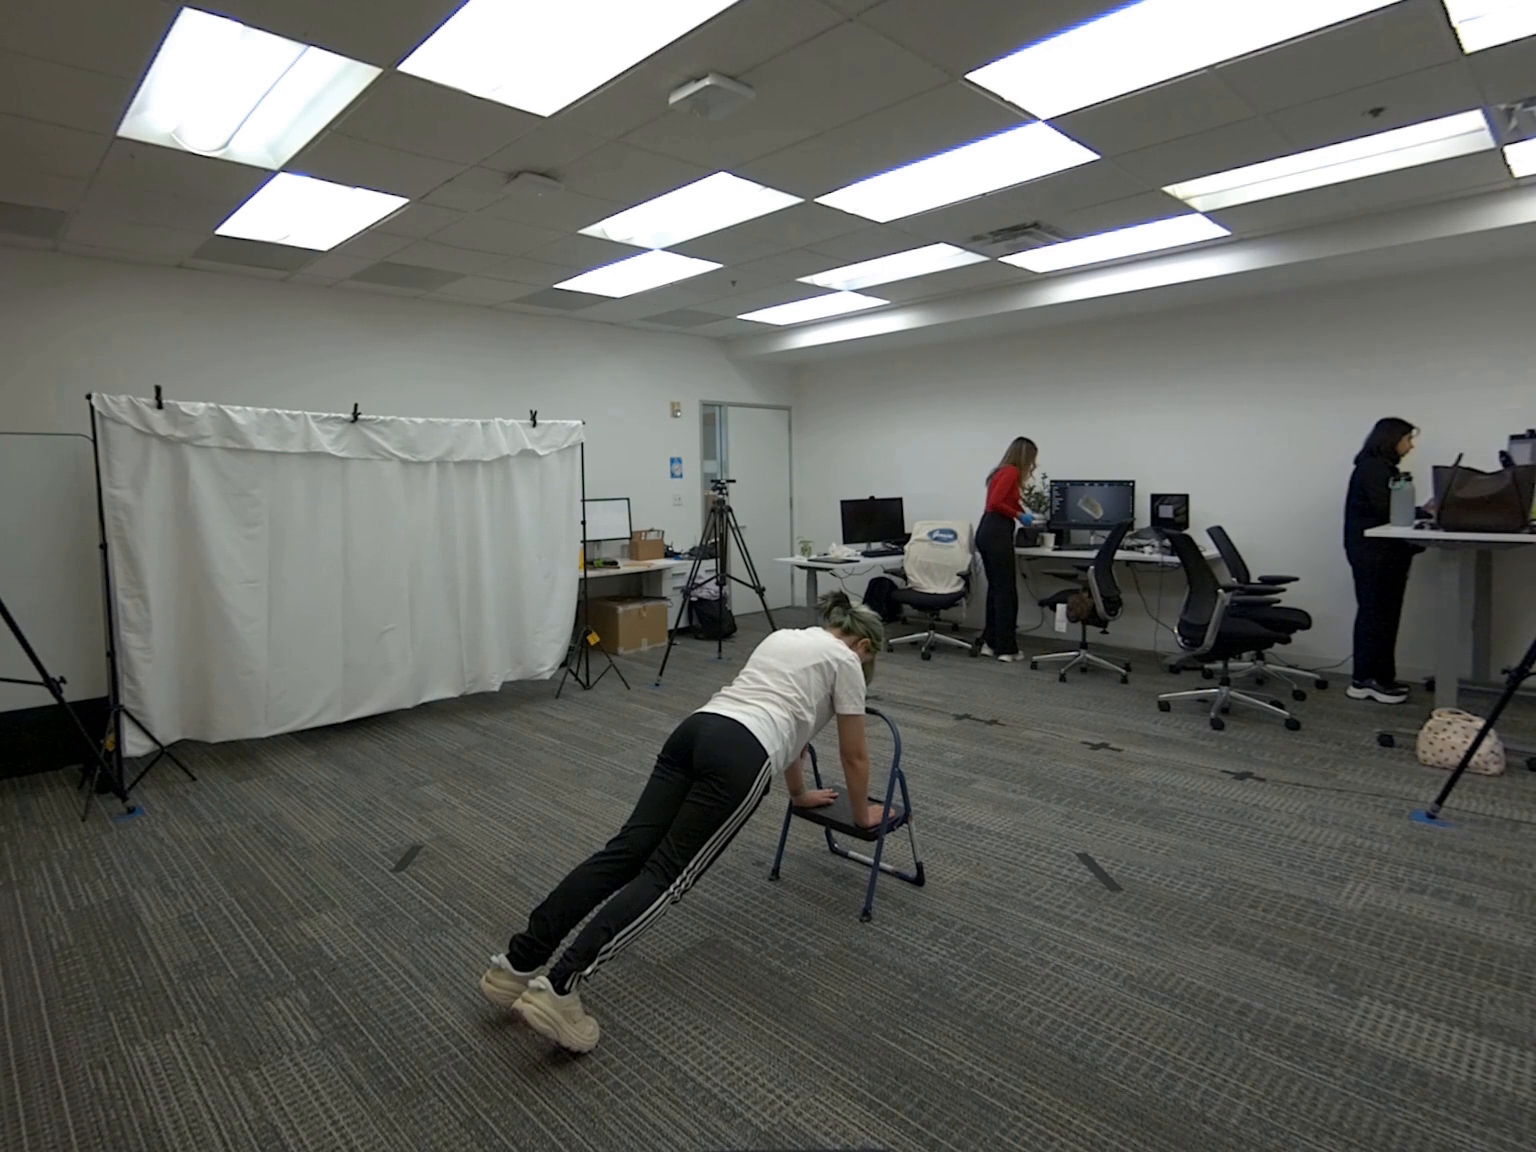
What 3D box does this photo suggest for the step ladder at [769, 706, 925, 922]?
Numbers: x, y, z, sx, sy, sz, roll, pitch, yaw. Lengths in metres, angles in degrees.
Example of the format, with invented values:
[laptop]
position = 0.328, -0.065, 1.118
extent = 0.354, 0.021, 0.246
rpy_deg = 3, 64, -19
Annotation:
[step ladder]
position = 0.272, 0.759, 2.940
extent = 0.444, 0.604, 0.340
rpy_deg = 3, 6, 45
